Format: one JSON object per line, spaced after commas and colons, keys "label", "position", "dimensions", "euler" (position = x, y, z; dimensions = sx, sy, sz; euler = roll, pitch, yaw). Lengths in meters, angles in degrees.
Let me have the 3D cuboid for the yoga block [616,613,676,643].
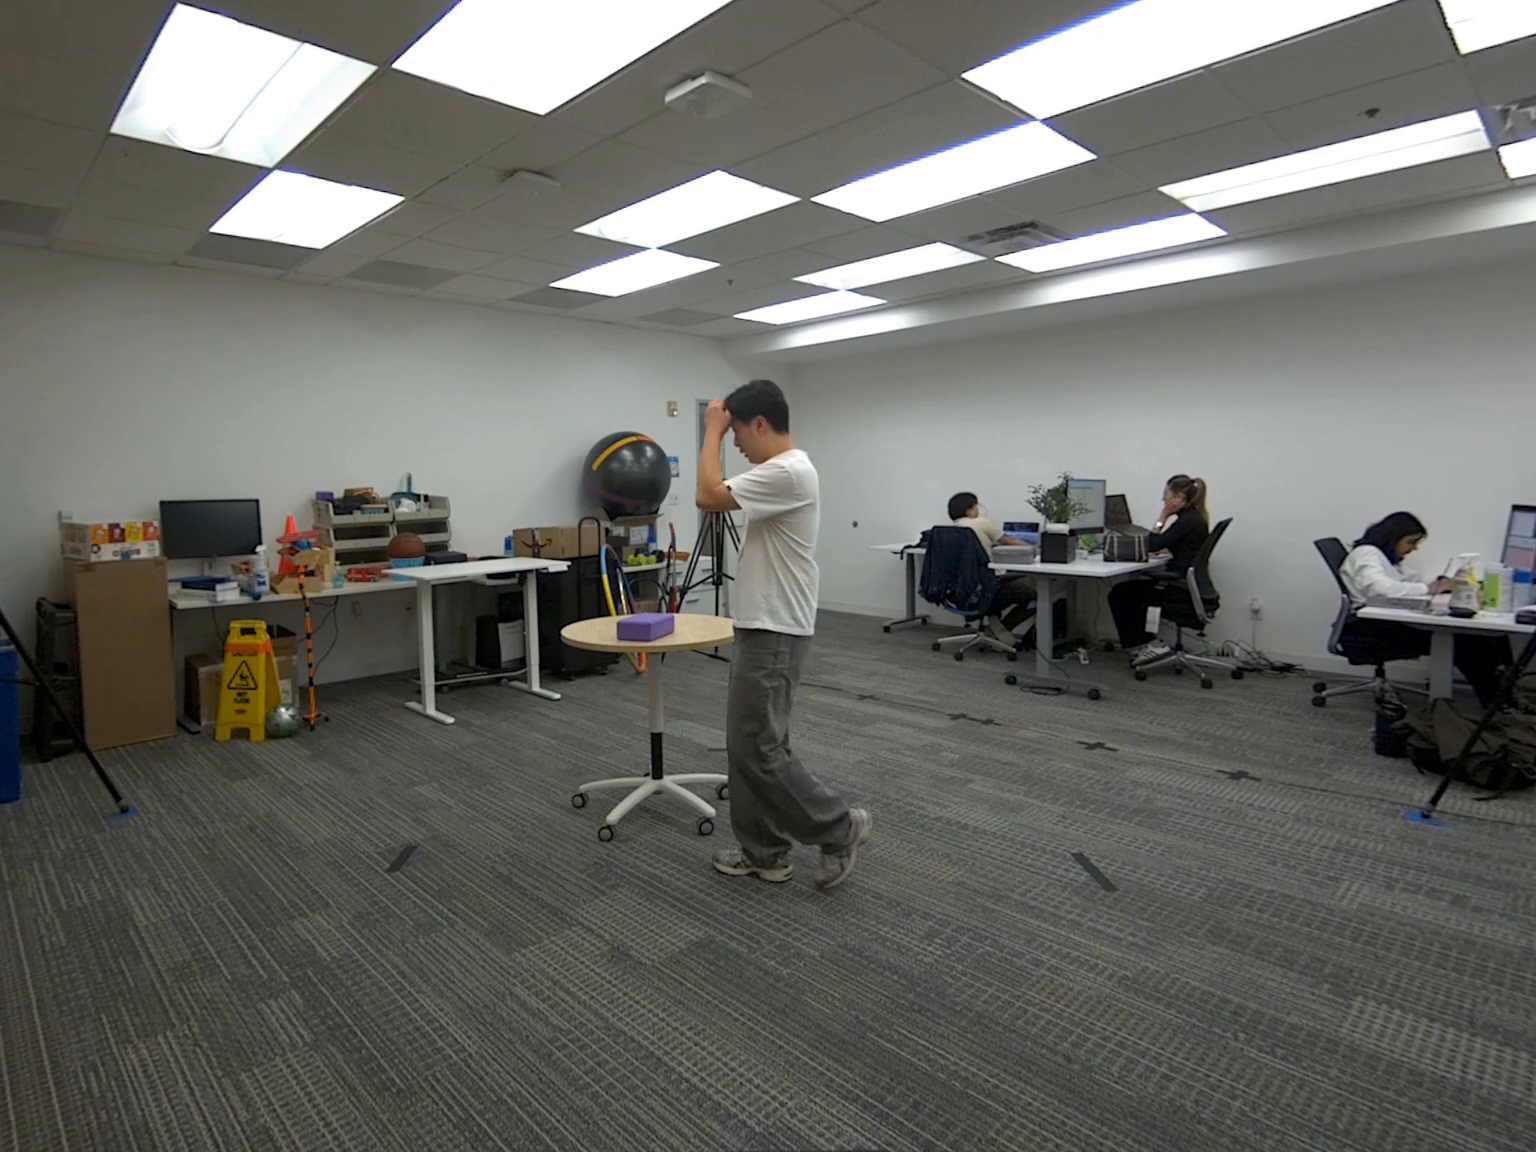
{"label": "yoga block", "position": [-0.482, 0.201, 3.393], "dimensions": [0.152, 0.076, 0.226], "euler": [1, 6, 19]}
